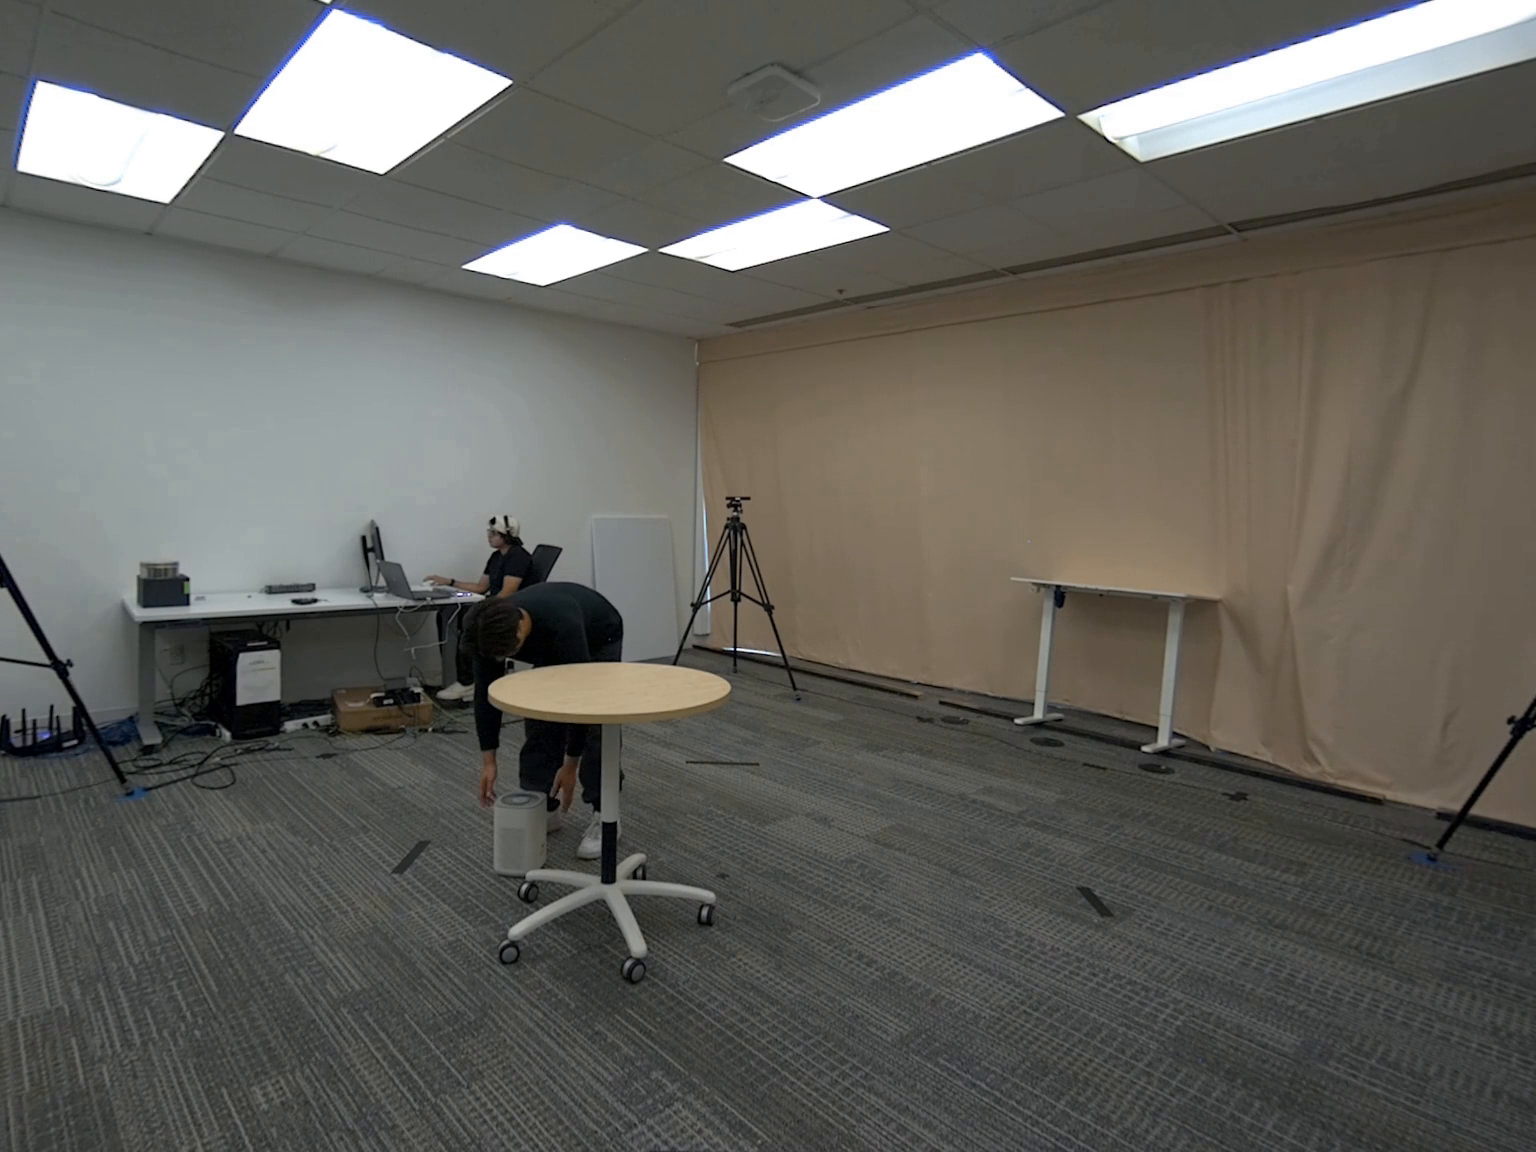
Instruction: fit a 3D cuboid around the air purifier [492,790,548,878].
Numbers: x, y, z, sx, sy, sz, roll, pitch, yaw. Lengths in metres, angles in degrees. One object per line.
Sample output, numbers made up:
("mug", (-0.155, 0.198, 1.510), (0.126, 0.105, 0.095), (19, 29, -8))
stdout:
("air purifier", (-0.922, 0.961, 3.108), (0.172, 0.264, 0.170), (2, 5, 6))
